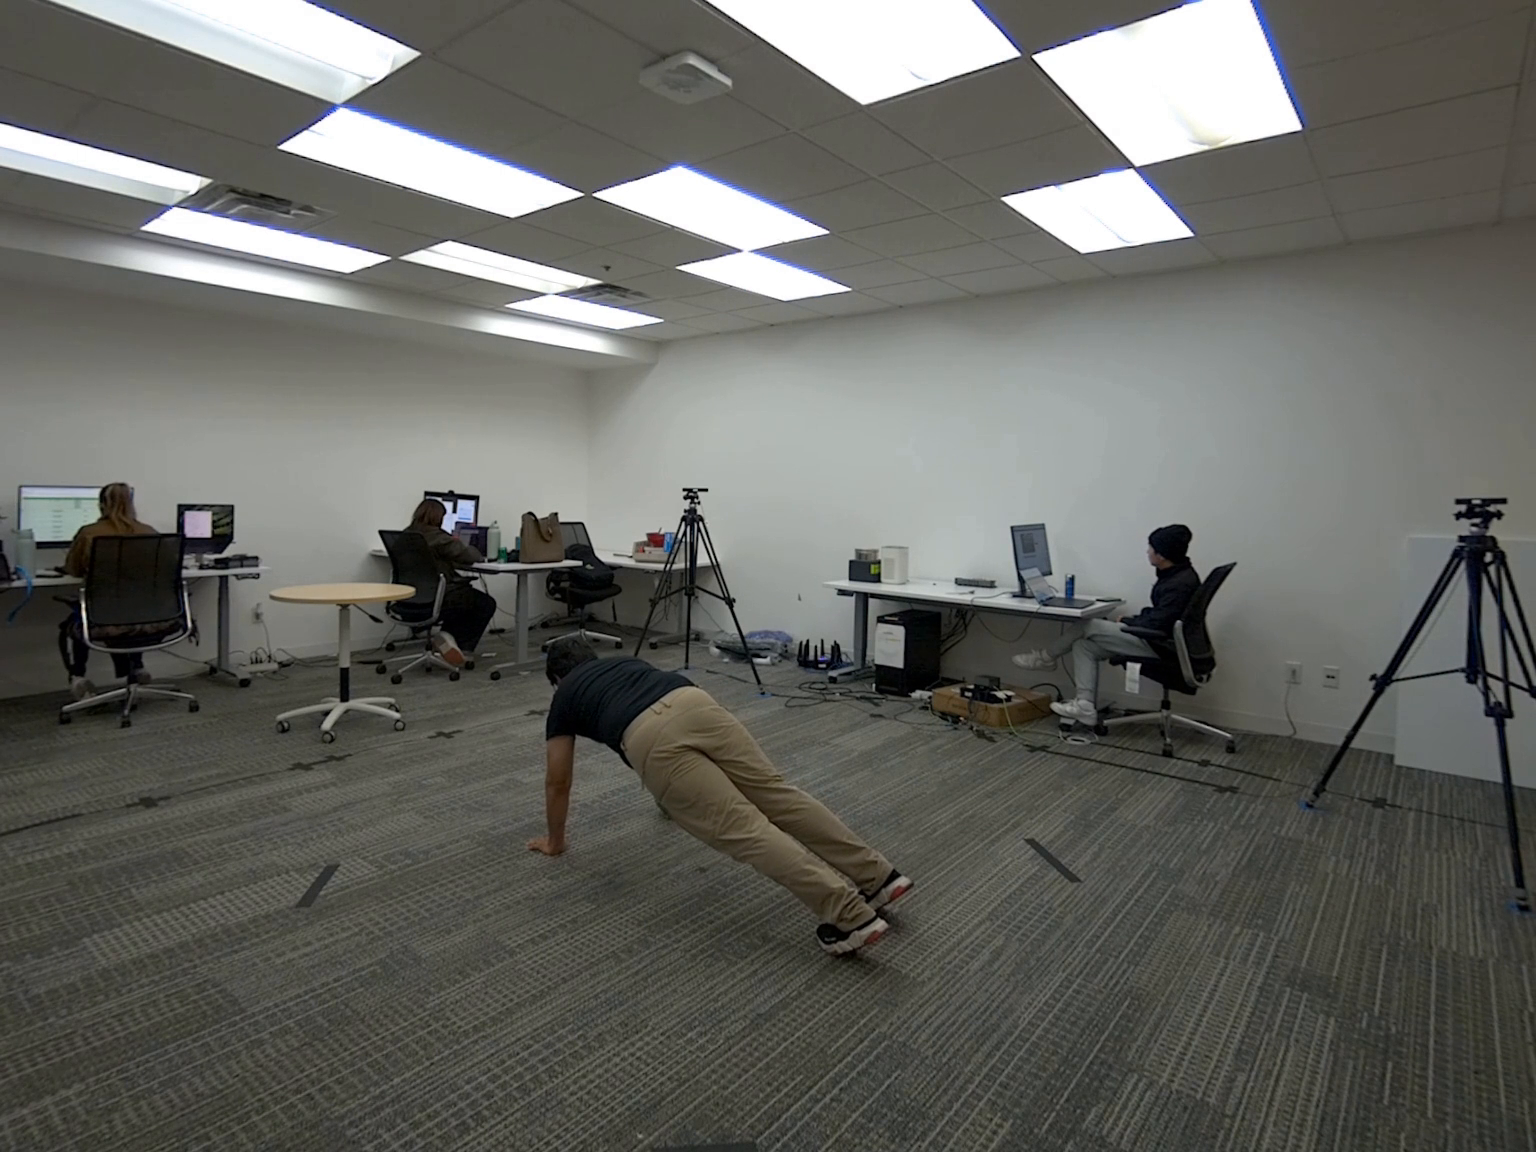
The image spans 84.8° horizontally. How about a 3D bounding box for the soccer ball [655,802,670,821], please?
[{"bbox_3d":[-0.405,0.917,3.623,0.187,0.187,0.188,1,4,-2],"label":"soccer ball"}]
